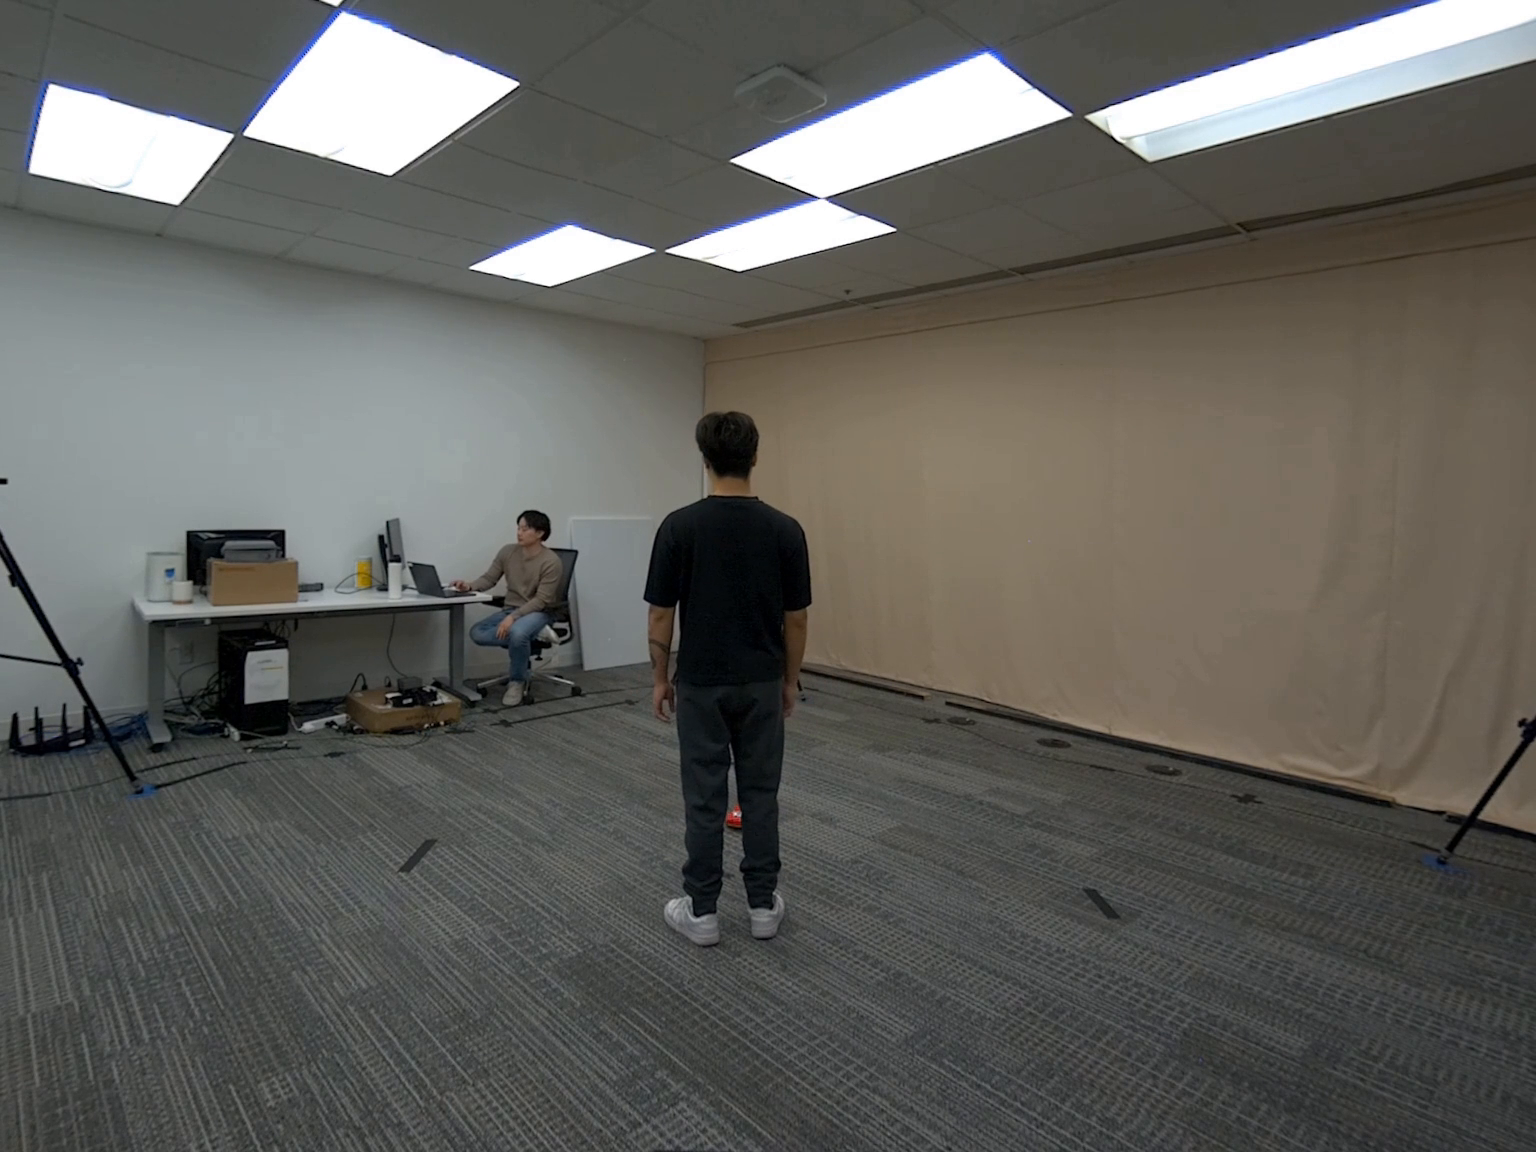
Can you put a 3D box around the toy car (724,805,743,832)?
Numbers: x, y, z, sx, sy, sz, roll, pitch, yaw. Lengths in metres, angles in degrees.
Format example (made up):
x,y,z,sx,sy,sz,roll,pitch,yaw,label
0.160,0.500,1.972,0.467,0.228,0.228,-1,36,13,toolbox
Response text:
x,y,z,sx,sy,sz,roll,pitch,yaw,label
-0.111,1.036,3.631,0.132,0.083,0.249,2,-6,18,toy car
